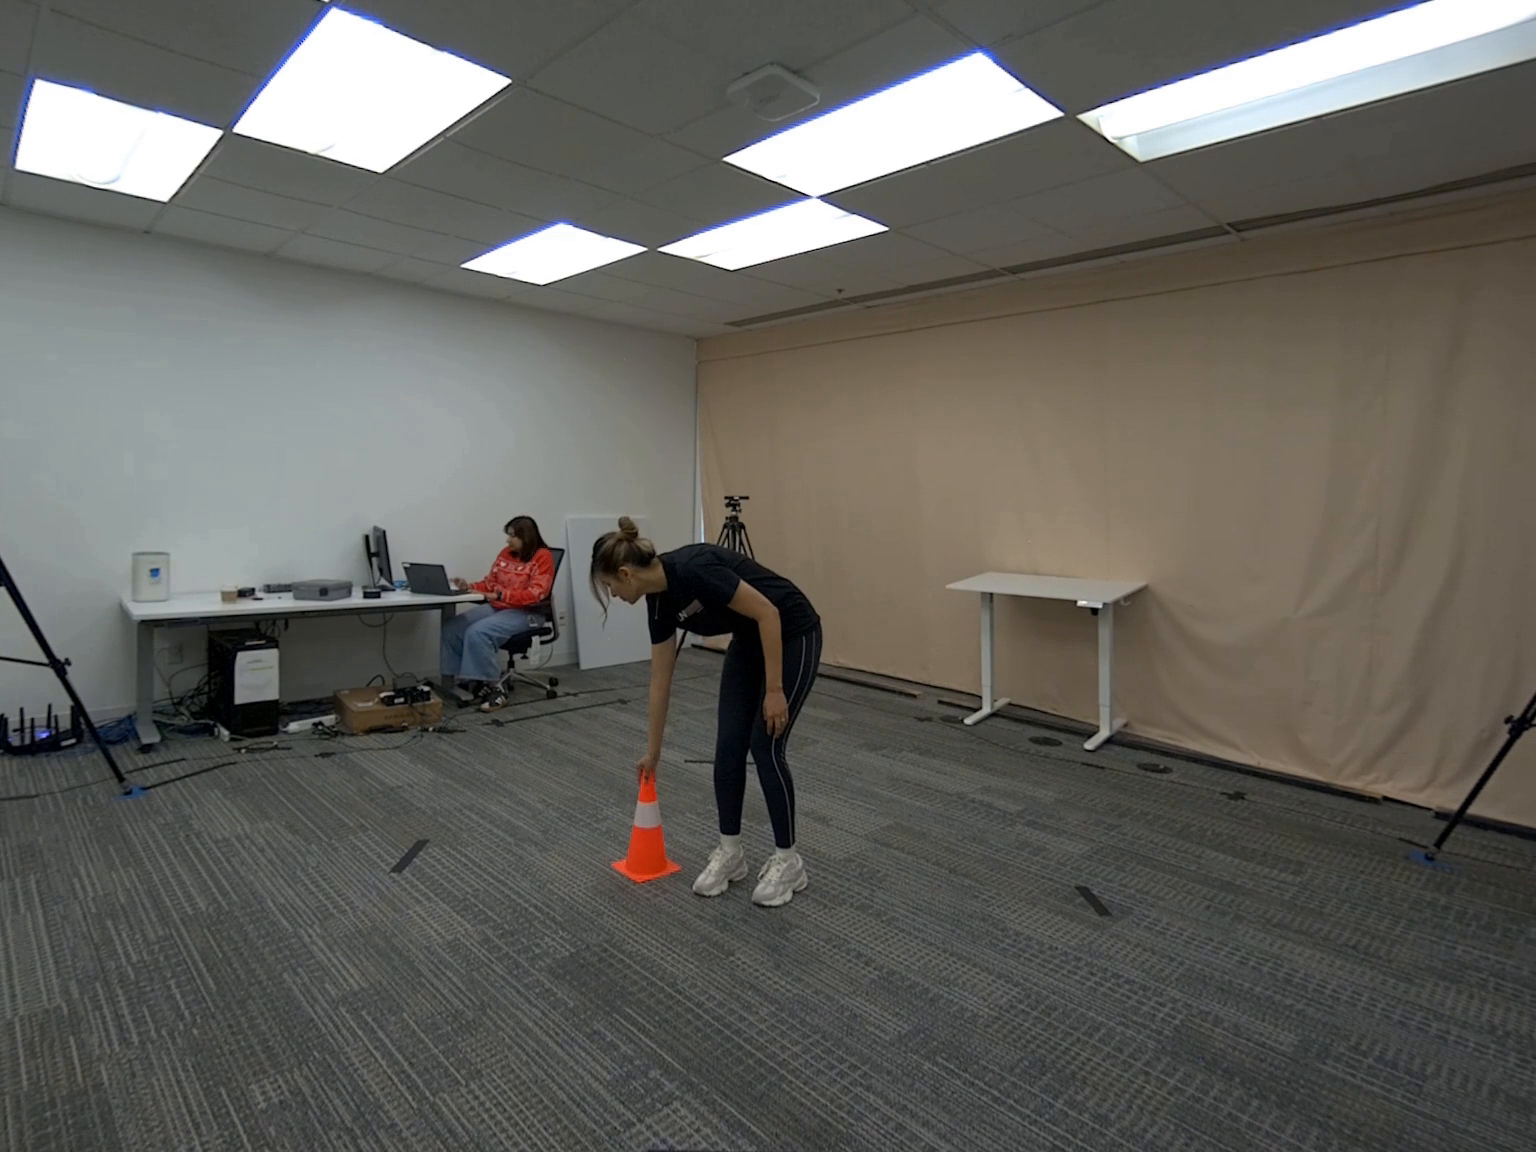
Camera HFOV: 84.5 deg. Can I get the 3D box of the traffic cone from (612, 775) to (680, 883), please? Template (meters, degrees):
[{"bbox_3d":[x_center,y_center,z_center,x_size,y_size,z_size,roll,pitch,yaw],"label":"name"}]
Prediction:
[{"bbox_3d":[-0.461,0.902,3.147,0.200,0.383,0.208,-1,4,-34],"label":"traffic cone"}]
